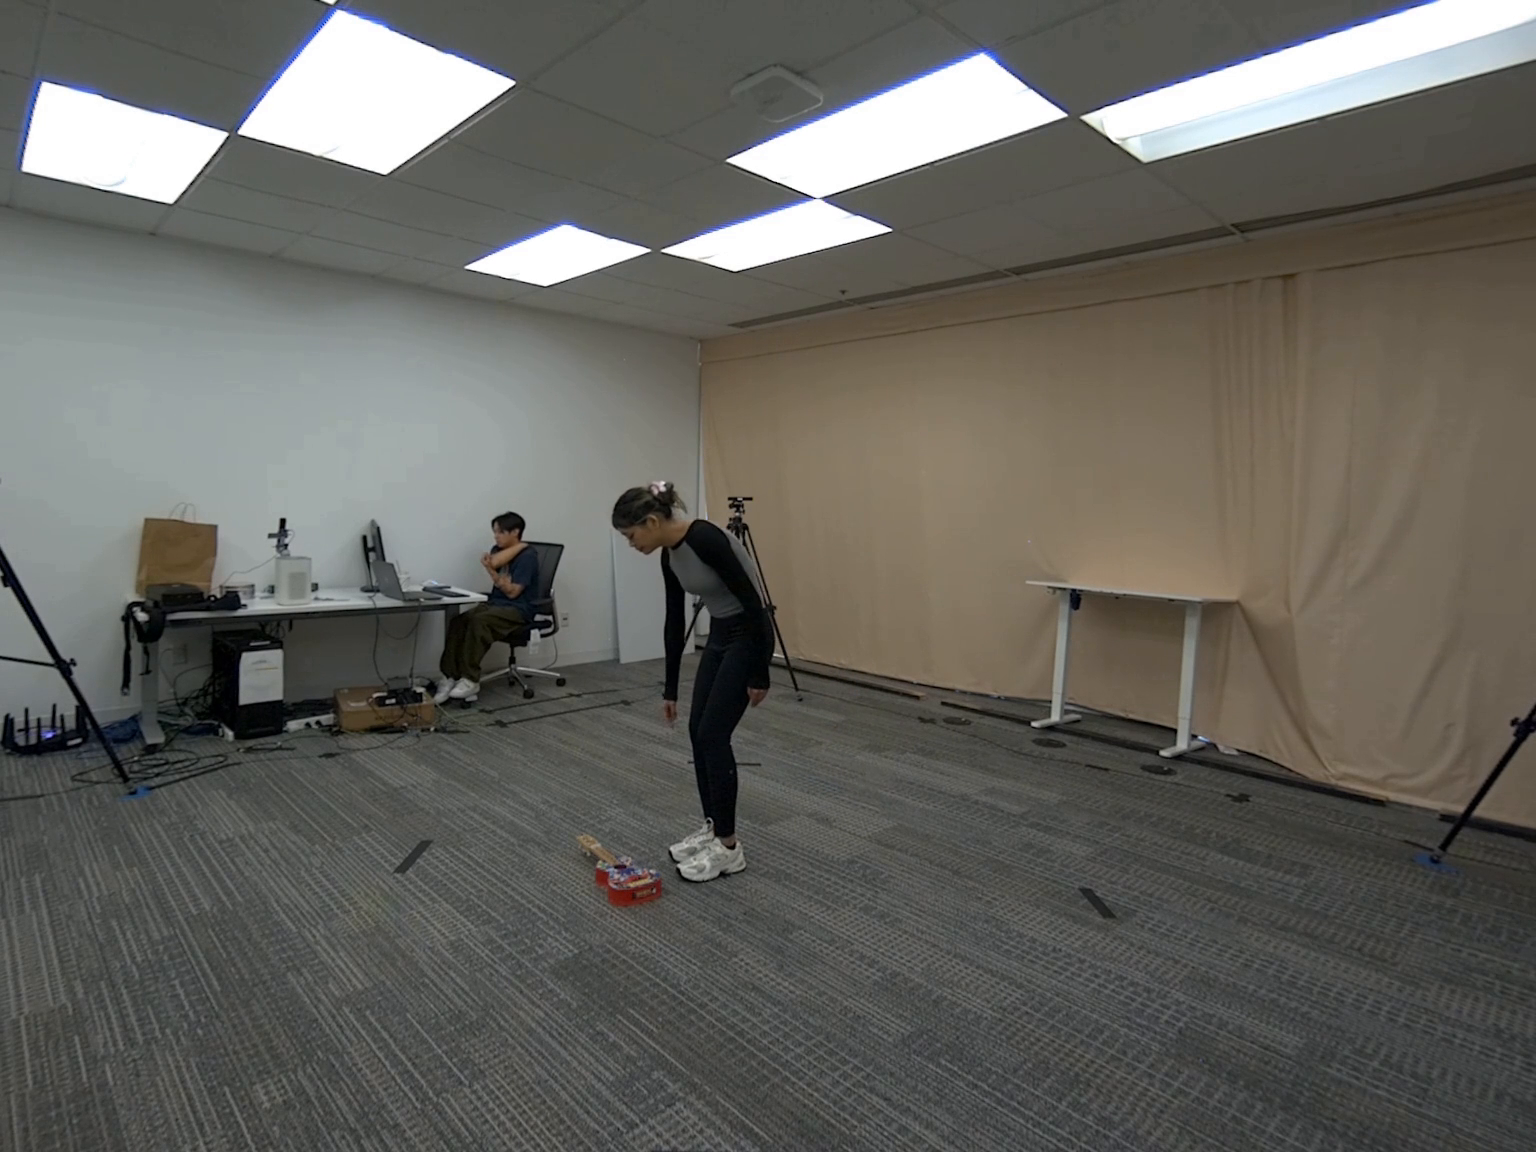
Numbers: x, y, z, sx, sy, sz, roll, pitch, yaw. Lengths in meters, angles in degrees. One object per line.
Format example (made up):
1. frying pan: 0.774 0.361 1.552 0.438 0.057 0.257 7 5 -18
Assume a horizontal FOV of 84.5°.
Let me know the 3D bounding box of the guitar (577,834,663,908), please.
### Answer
1. guitar: -0.557 1.064 3.096 0.189 0.070 0.509 -1 6 -27
